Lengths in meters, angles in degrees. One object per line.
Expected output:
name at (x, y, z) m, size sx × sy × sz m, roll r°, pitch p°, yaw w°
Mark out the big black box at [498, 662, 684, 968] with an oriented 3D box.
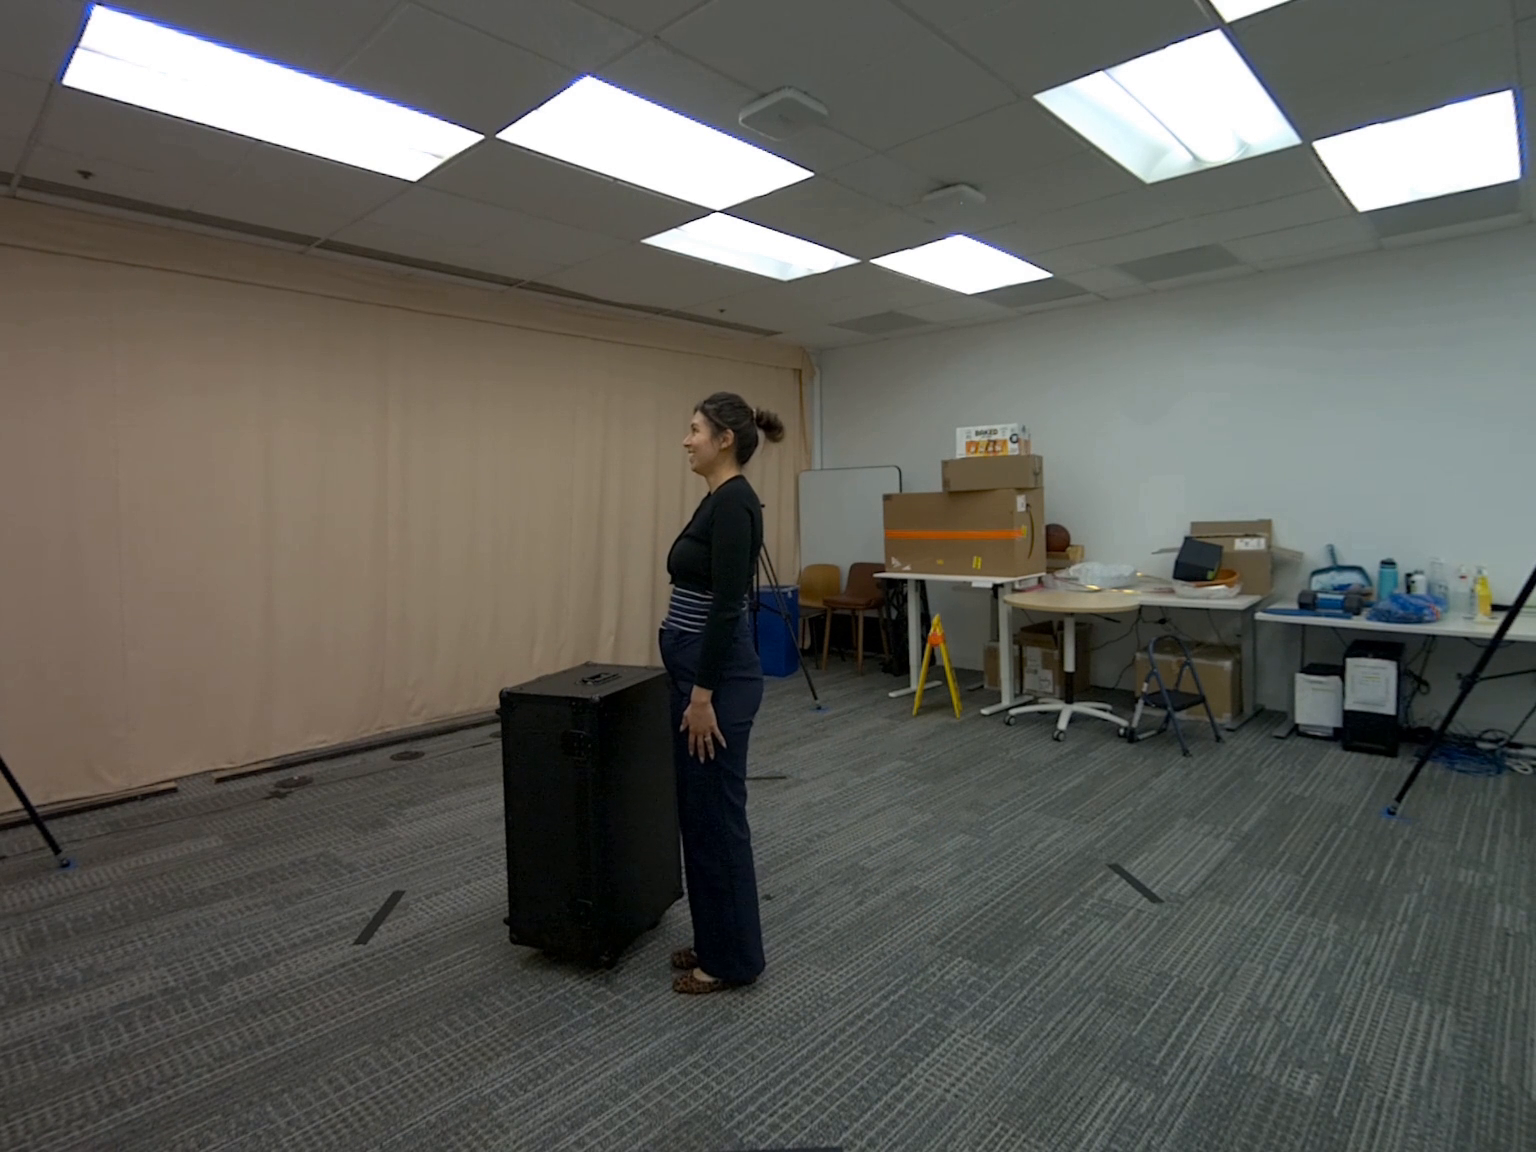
big black box at (-0.566, 0.752, 2.701) m, size 0.406 × 0.860 × 0.510 m, roll -1°, pitch 3°, yaw 24°
